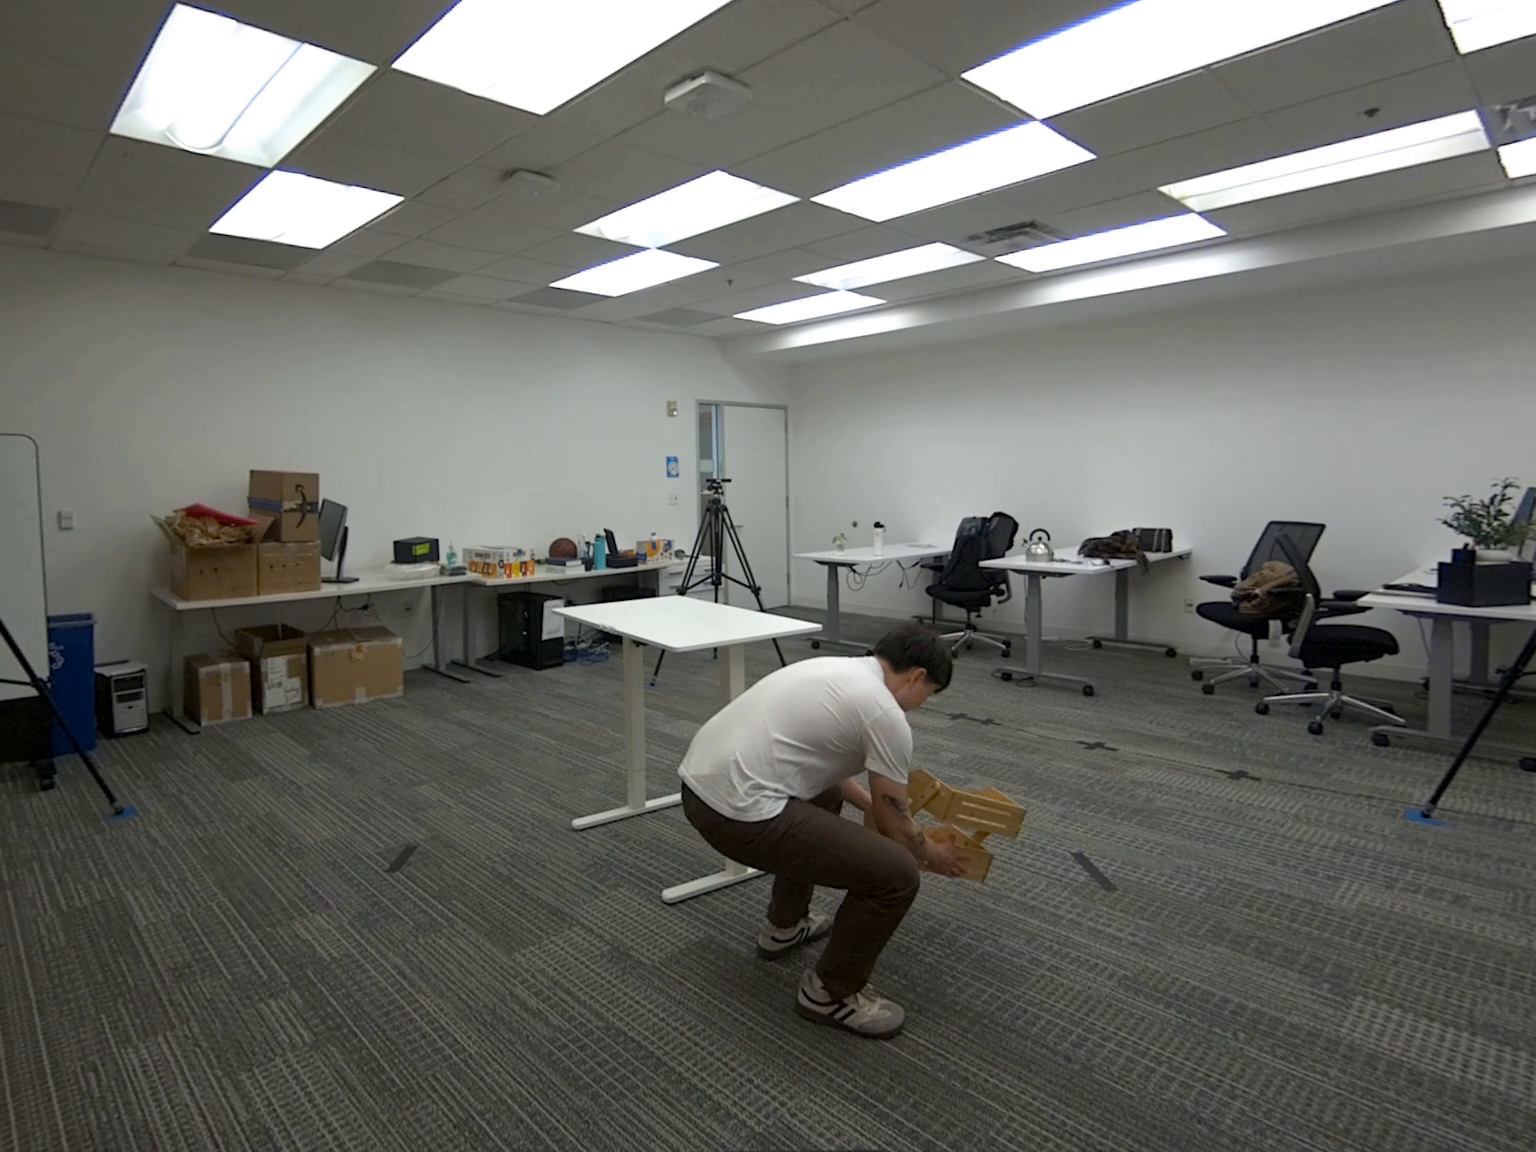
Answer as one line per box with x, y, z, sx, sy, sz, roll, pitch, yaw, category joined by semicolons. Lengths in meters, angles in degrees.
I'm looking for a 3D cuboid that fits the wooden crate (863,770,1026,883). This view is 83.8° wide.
0.521;0.710;2.567;0.314;0.273;0.312;20;0;-31;wooden crate
